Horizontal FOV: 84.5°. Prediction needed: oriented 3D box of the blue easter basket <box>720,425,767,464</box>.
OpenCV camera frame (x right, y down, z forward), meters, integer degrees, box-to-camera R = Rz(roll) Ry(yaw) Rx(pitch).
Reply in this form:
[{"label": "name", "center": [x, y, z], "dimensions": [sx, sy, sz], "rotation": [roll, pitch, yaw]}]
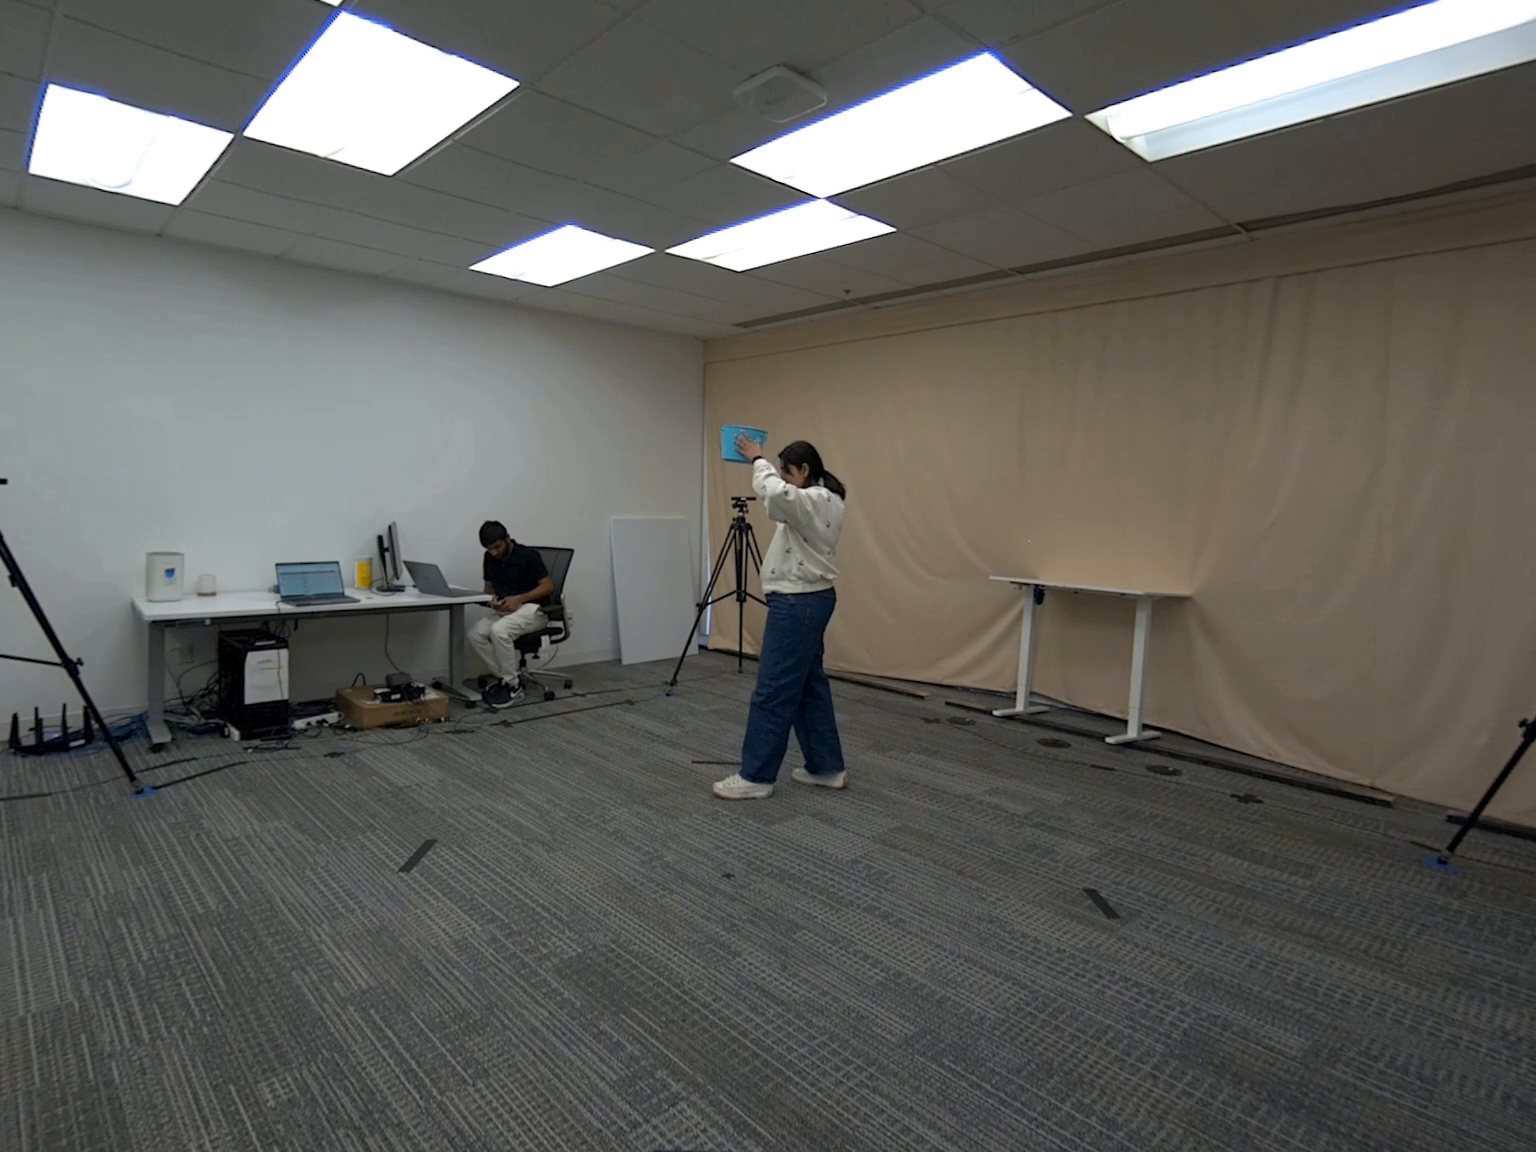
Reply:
[{"label": "blue easter basket", "center": [-0.125, -0.630, 4.033], "dimensions": [0.243, 0.156, 0.244], "rotation": [8, 2, -2]}]
